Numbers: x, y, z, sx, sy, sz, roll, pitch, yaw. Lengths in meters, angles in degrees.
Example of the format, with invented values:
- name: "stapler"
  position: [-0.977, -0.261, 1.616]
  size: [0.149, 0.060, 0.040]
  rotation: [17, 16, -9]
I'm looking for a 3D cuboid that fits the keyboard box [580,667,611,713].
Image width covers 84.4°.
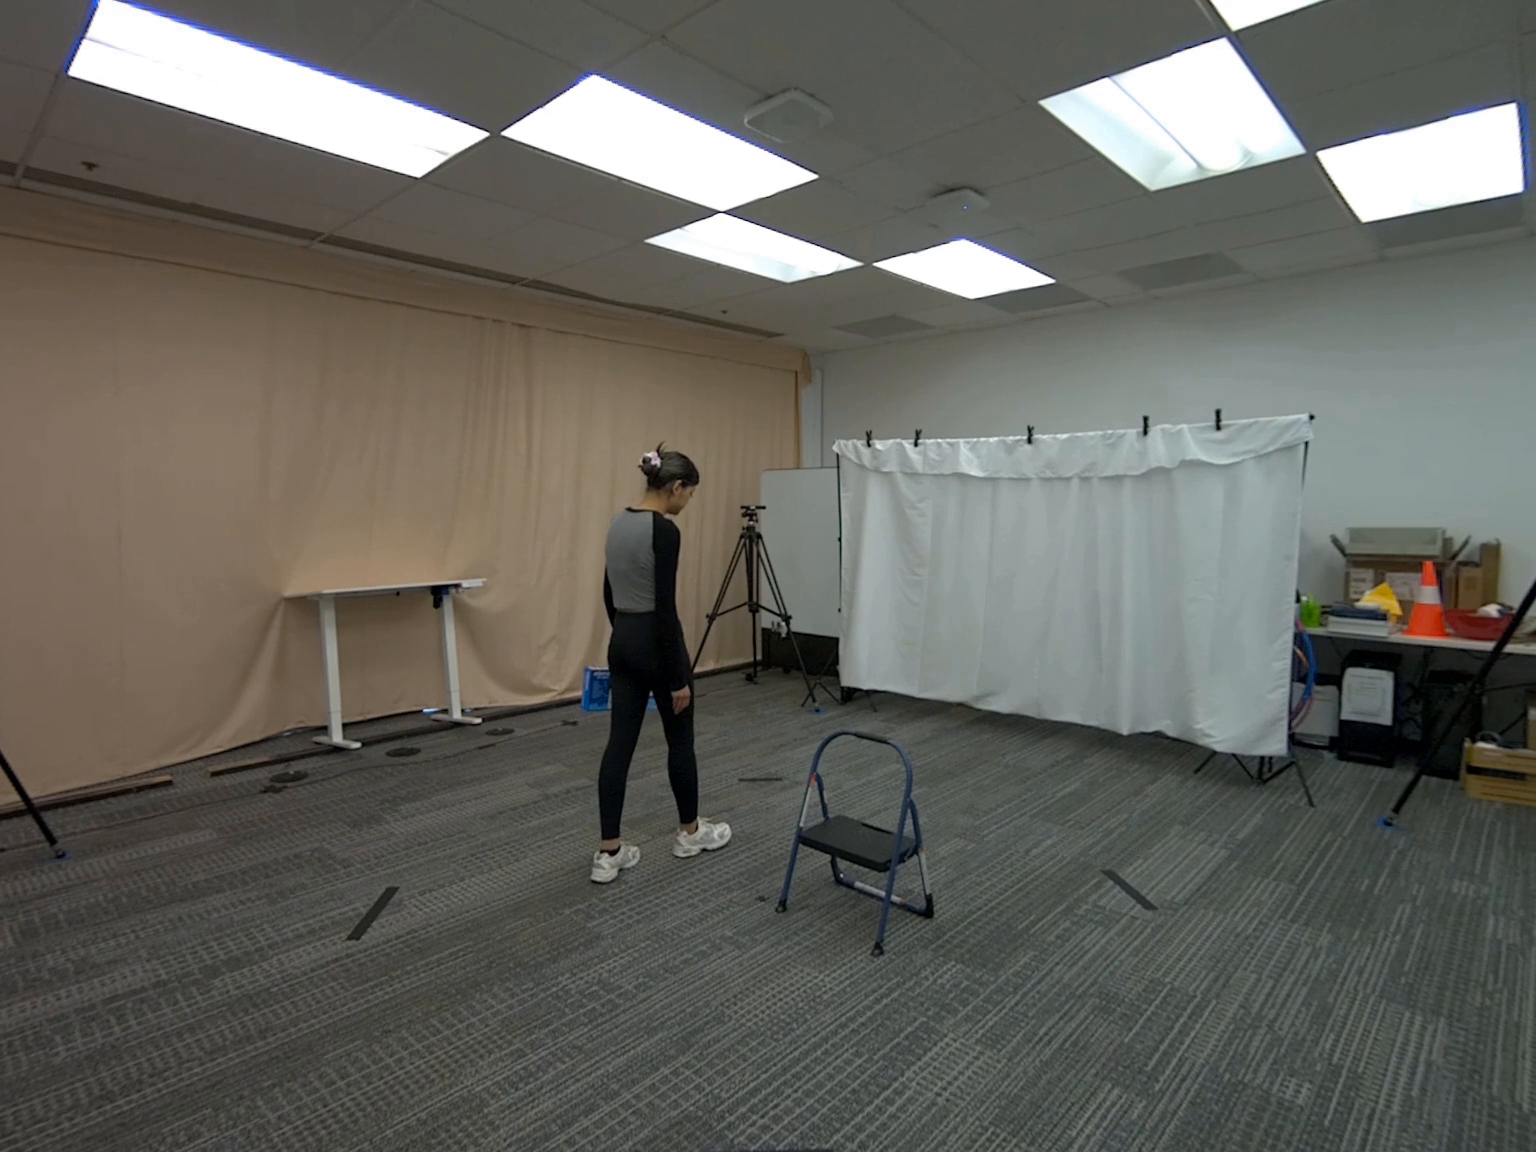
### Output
- name: "keyboard box"
  position: [-0.581, 0.475, 3.557]
  size: [0.422, 0.176, 0.061]
  rotation: [5, 1, -40]
